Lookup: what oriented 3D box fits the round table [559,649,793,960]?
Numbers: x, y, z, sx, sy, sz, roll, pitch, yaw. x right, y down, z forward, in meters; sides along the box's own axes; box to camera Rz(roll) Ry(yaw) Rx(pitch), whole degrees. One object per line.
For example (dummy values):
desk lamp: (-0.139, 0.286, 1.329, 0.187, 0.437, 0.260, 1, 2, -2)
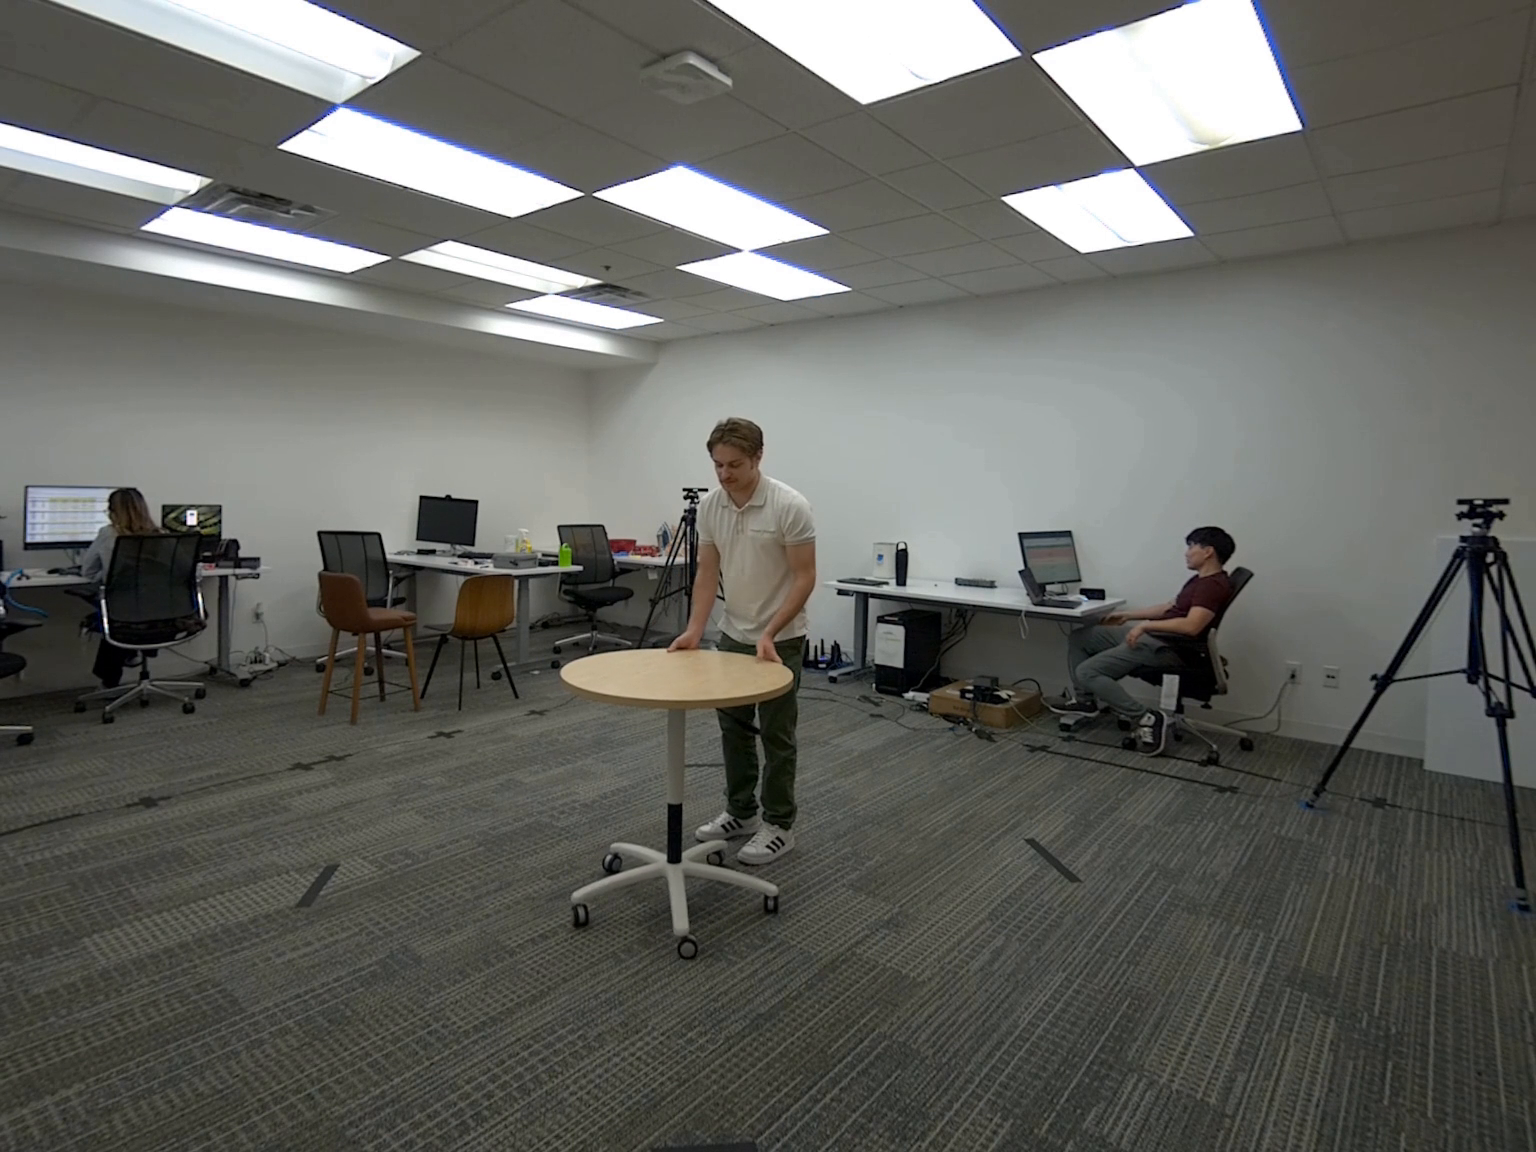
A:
round table: (-0.326, 0.705, 2.837, 0.763, 0.791, 0.768, 1, 4, -2)
